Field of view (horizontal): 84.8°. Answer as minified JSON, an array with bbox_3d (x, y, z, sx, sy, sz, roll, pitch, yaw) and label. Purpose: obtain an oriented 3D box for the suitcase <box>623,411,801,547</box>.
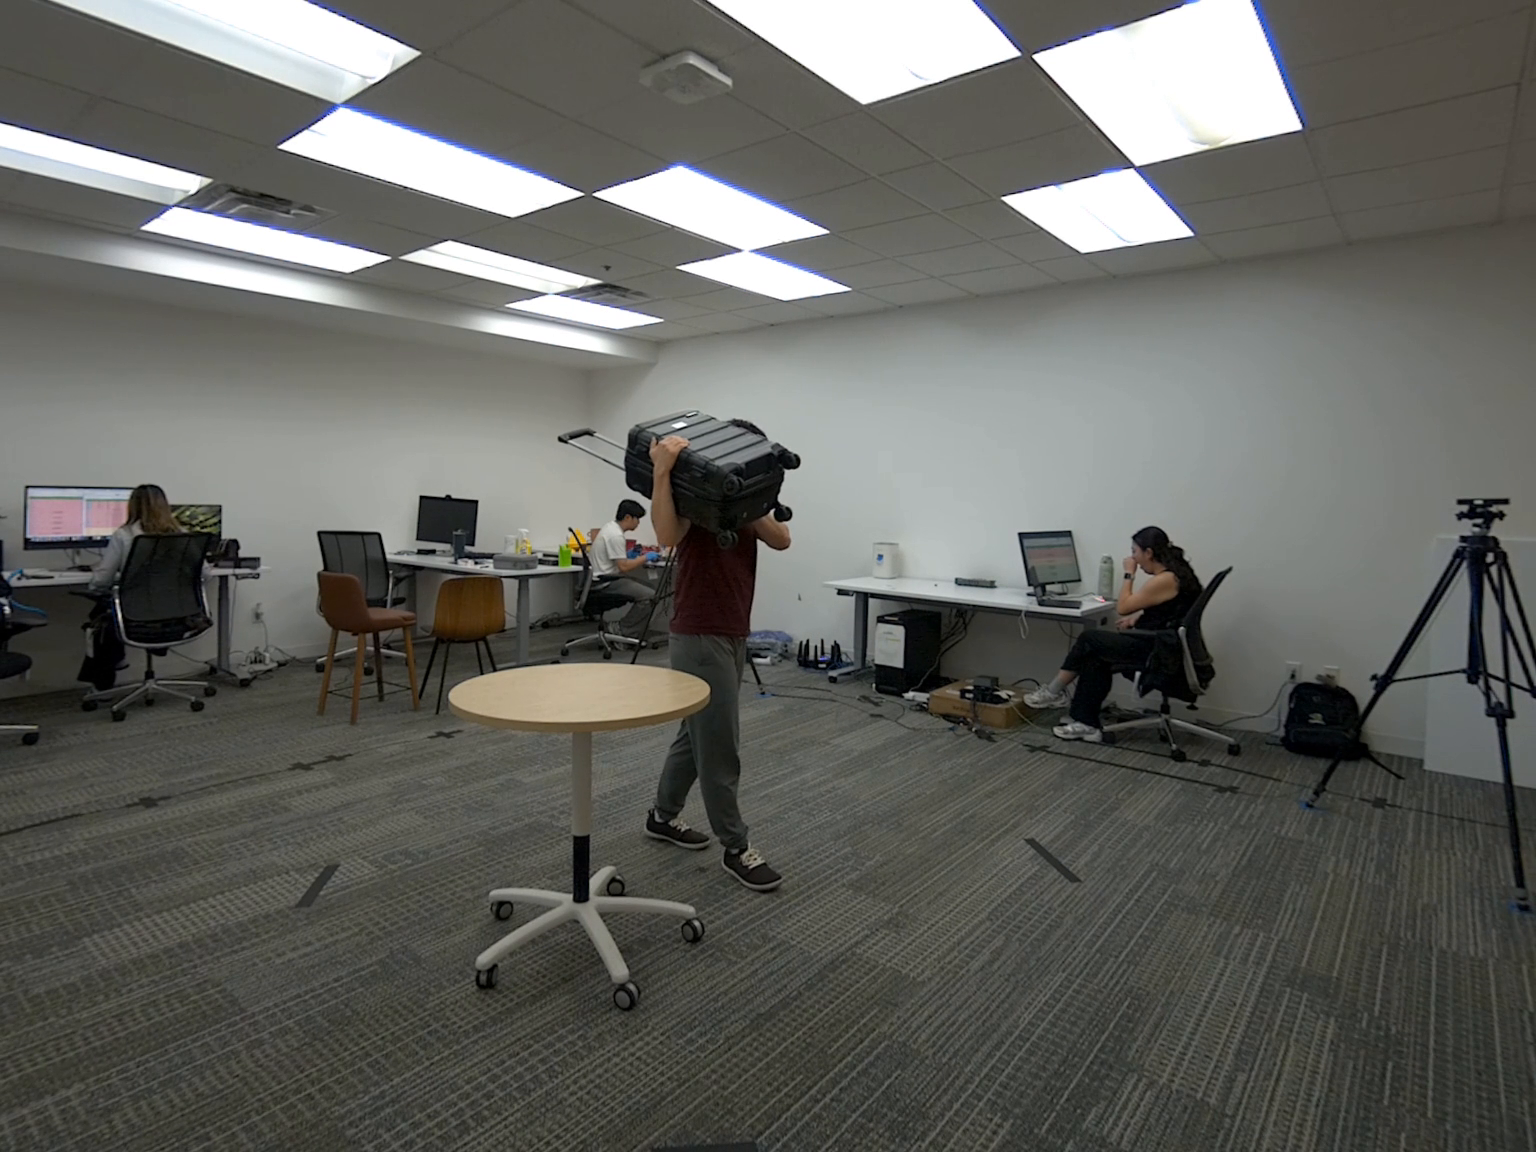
[{"bbox_3d":[-0.381,-0.464,3.053,1.016,0.251,0.378,29,38,32],"label":"suitcase"}]
